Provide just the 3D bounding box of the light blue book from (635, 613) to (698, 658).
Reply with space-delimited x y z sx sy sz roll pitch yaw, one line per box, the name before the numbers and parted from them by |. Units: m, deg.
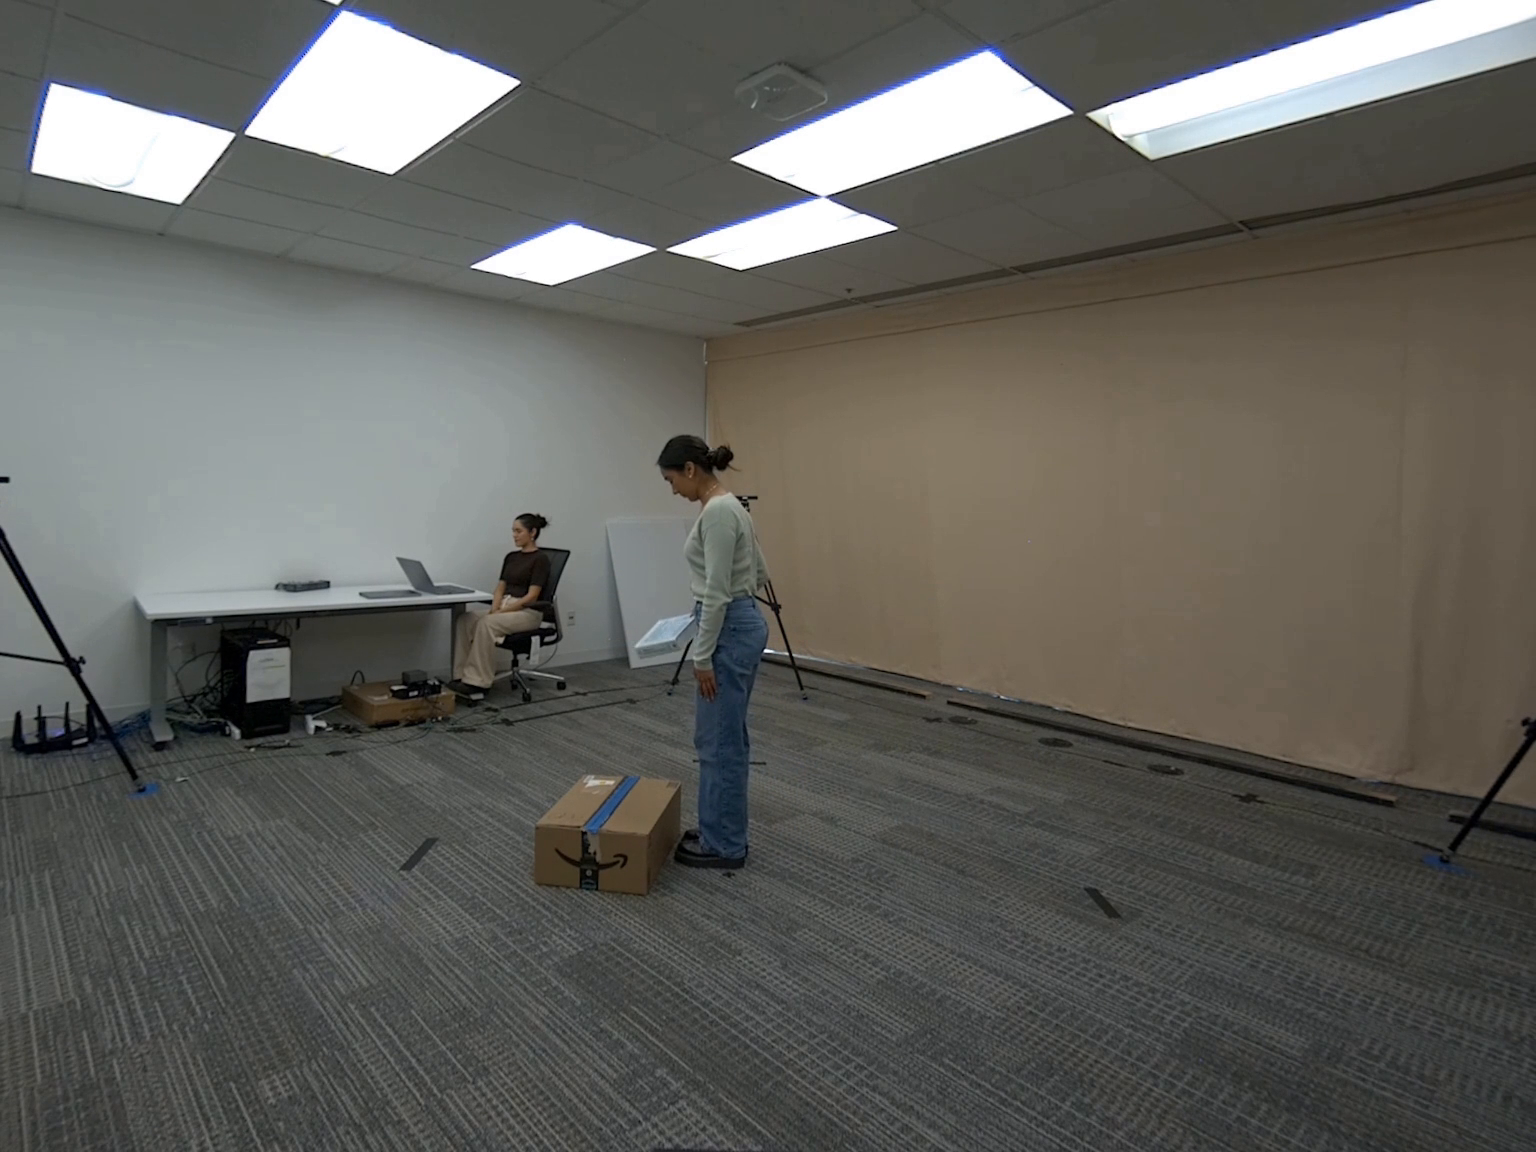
light blue book | -0.407 0.243 3.441 0.265 0.058 0.191 -15 24 42
